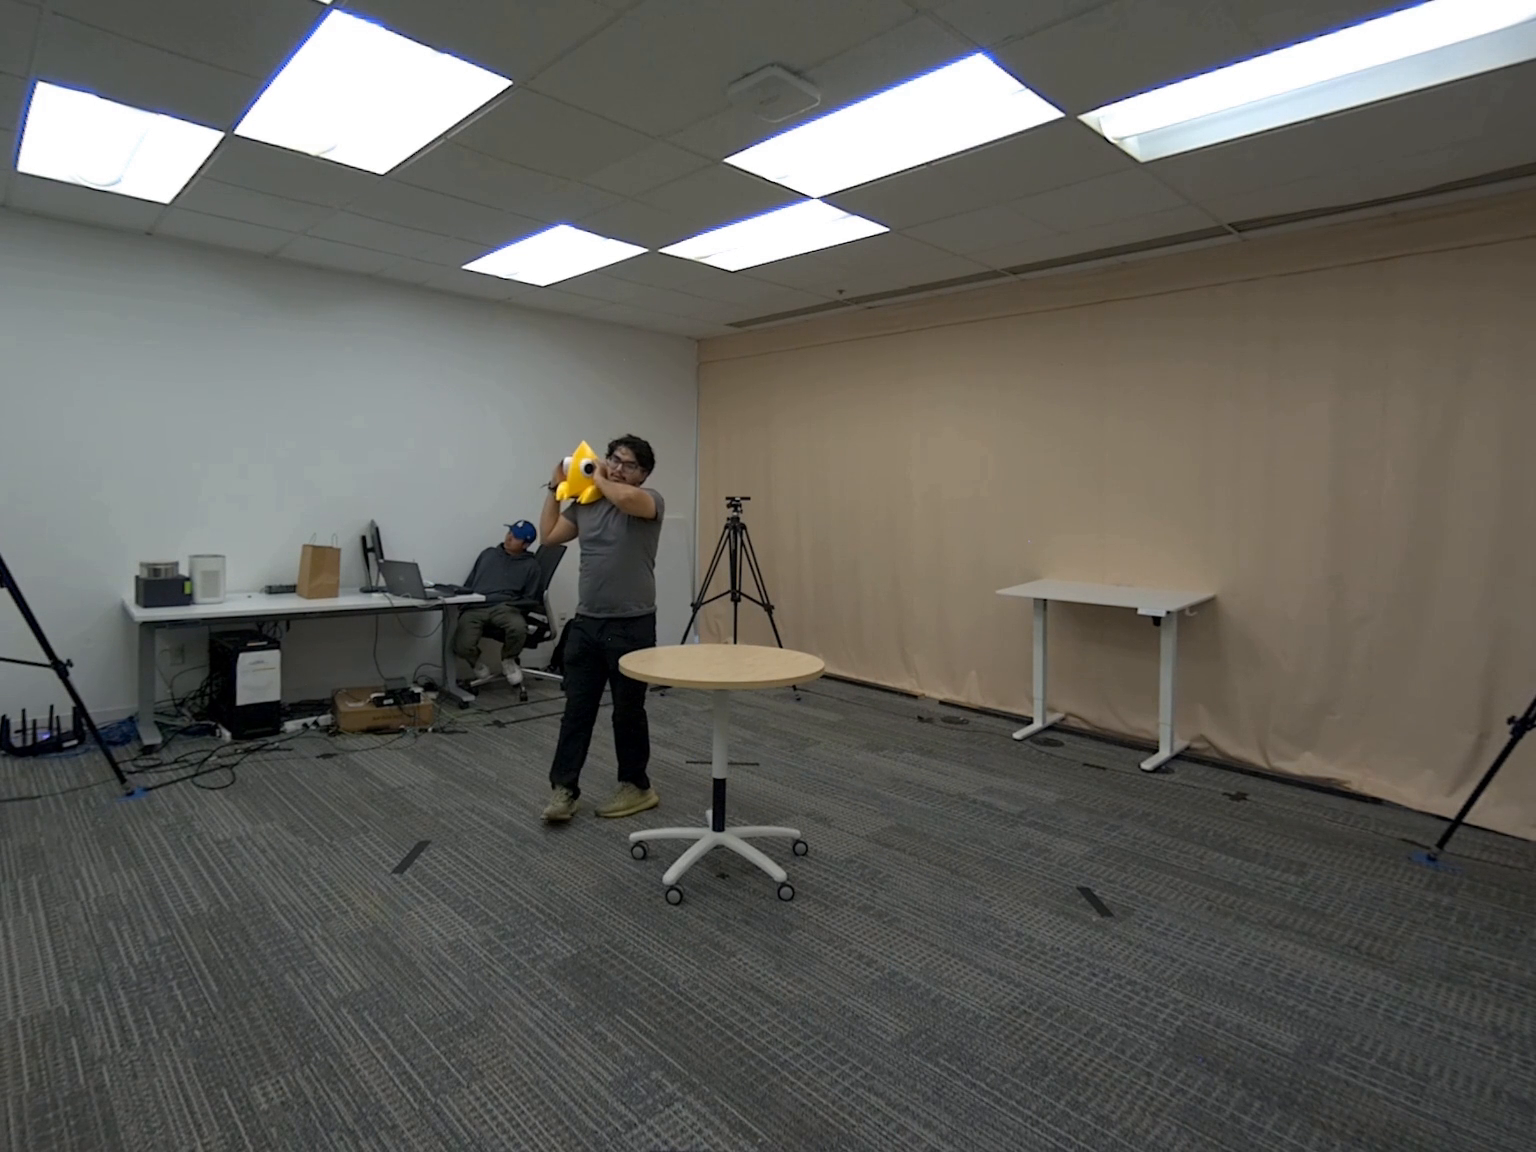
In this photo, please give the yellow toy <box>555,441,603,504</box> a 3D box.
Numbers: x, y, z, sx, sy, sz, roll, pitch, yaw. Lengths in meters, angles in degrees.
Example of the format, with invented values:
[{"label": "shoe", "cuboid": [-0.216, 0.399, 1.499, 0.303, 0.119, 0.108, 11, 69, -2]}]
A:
[{"label": "yellow toy", "cuboid": [-0.823, -0.458, 3.644, 0.209, 0.227, 0.192, 8, 26, 23]}]
